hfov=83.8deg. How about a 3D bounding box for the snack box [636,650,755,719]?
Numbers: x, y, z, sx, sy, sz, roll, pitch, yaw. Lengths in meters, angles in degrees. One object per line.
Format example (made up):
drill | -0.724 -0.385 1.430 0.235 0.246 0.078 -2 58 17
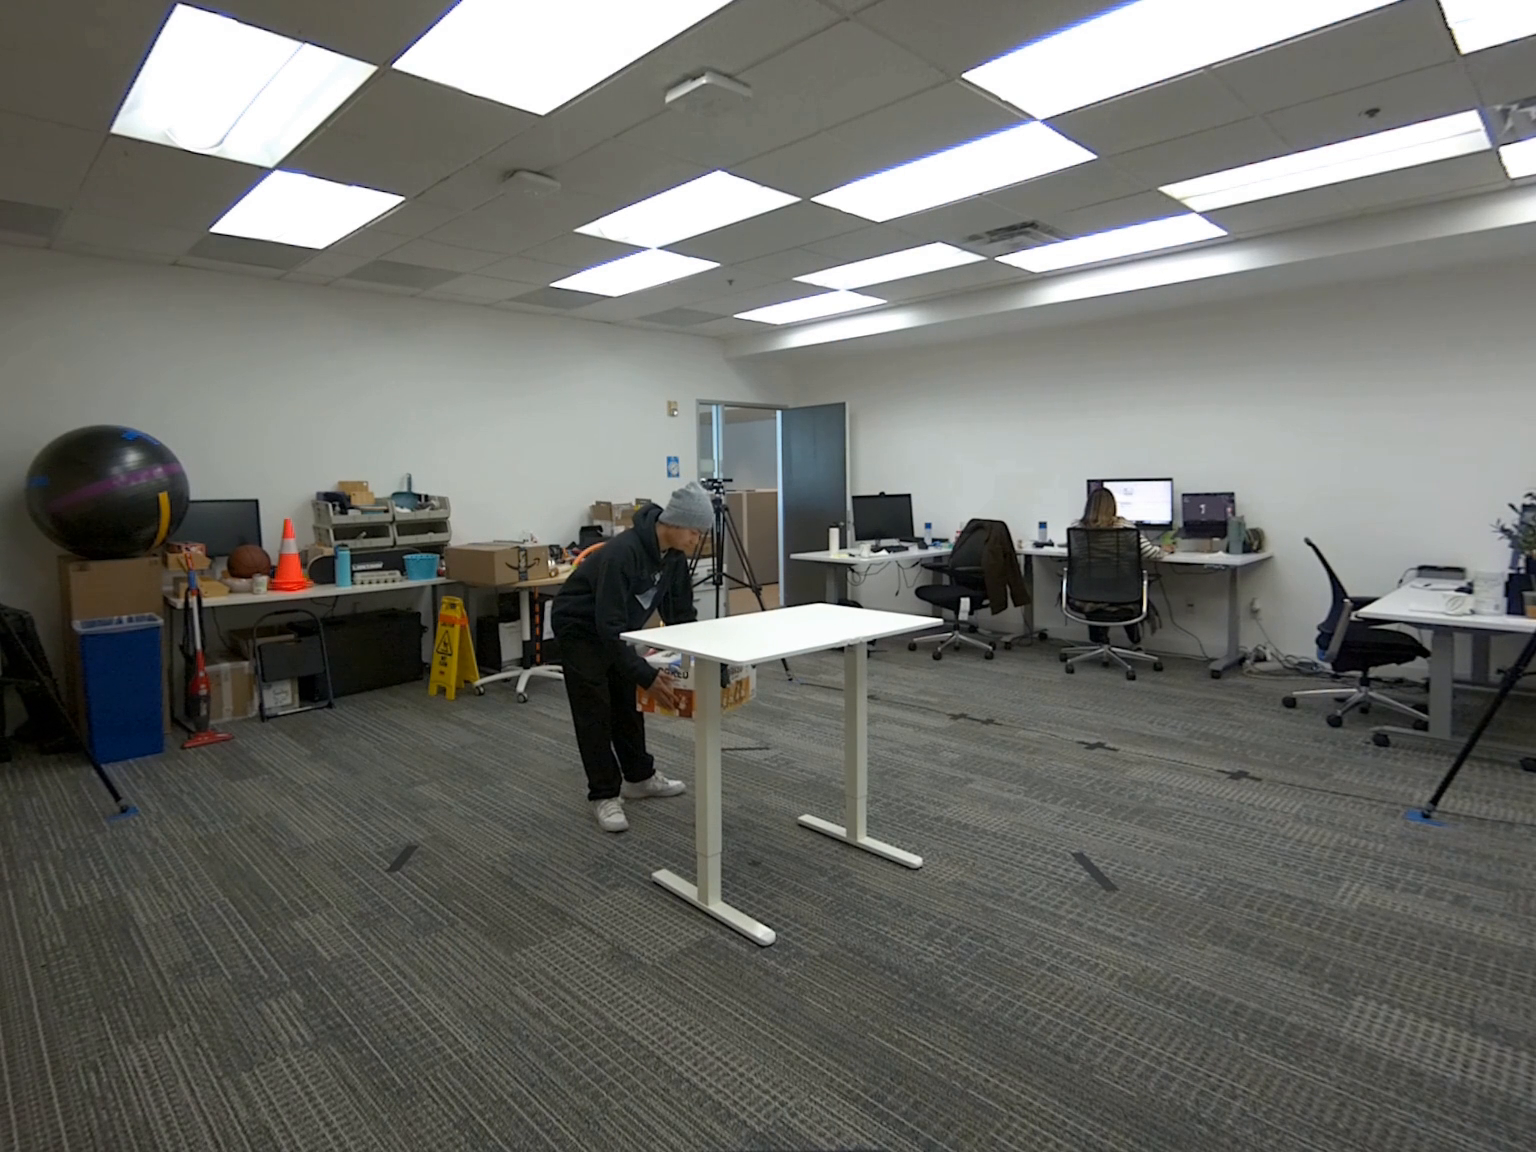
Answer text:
snack box | -0.286 0.421 3.465 0.348 0.205 0.397 3 6 25
